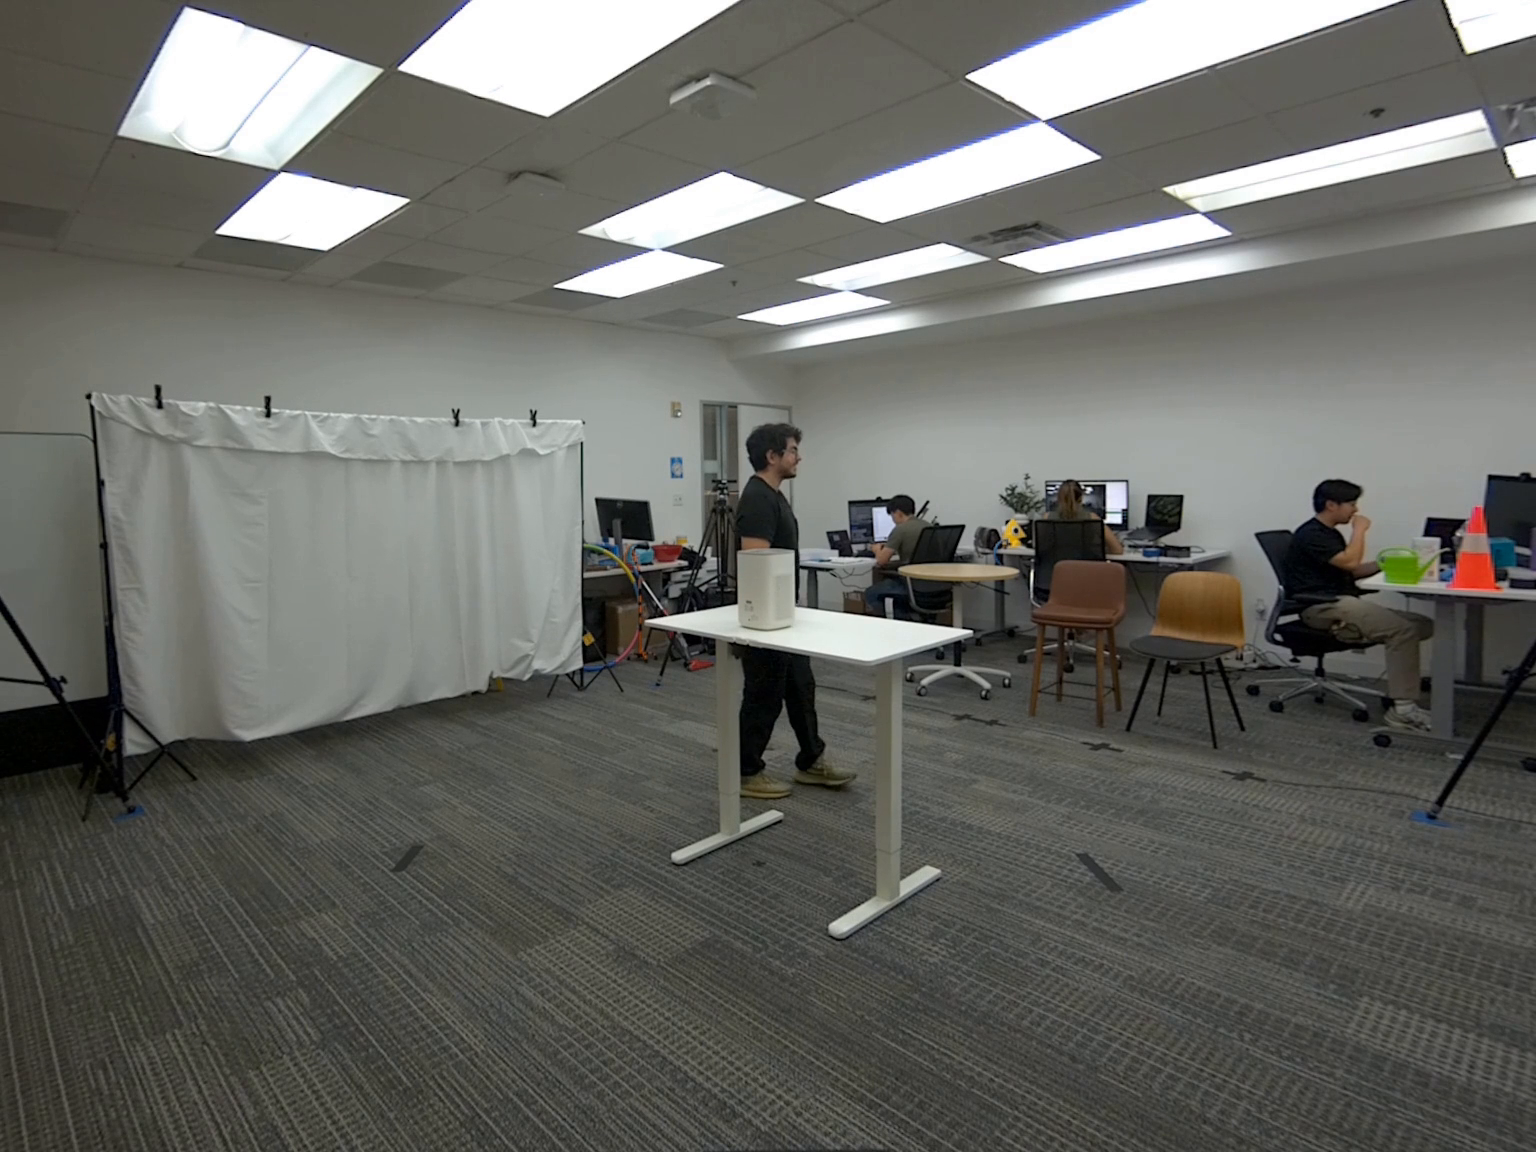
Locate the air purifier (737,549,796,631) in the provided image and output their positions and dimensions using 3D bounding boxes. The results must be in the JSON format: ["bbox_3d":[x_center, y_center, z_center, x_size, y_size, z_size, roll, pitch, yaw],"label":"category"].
[{"bbox_3d":[-0.004,0.046,2.977,0.167,0.264,0.176,-4,7,-44],"label":"air purifier"}]
